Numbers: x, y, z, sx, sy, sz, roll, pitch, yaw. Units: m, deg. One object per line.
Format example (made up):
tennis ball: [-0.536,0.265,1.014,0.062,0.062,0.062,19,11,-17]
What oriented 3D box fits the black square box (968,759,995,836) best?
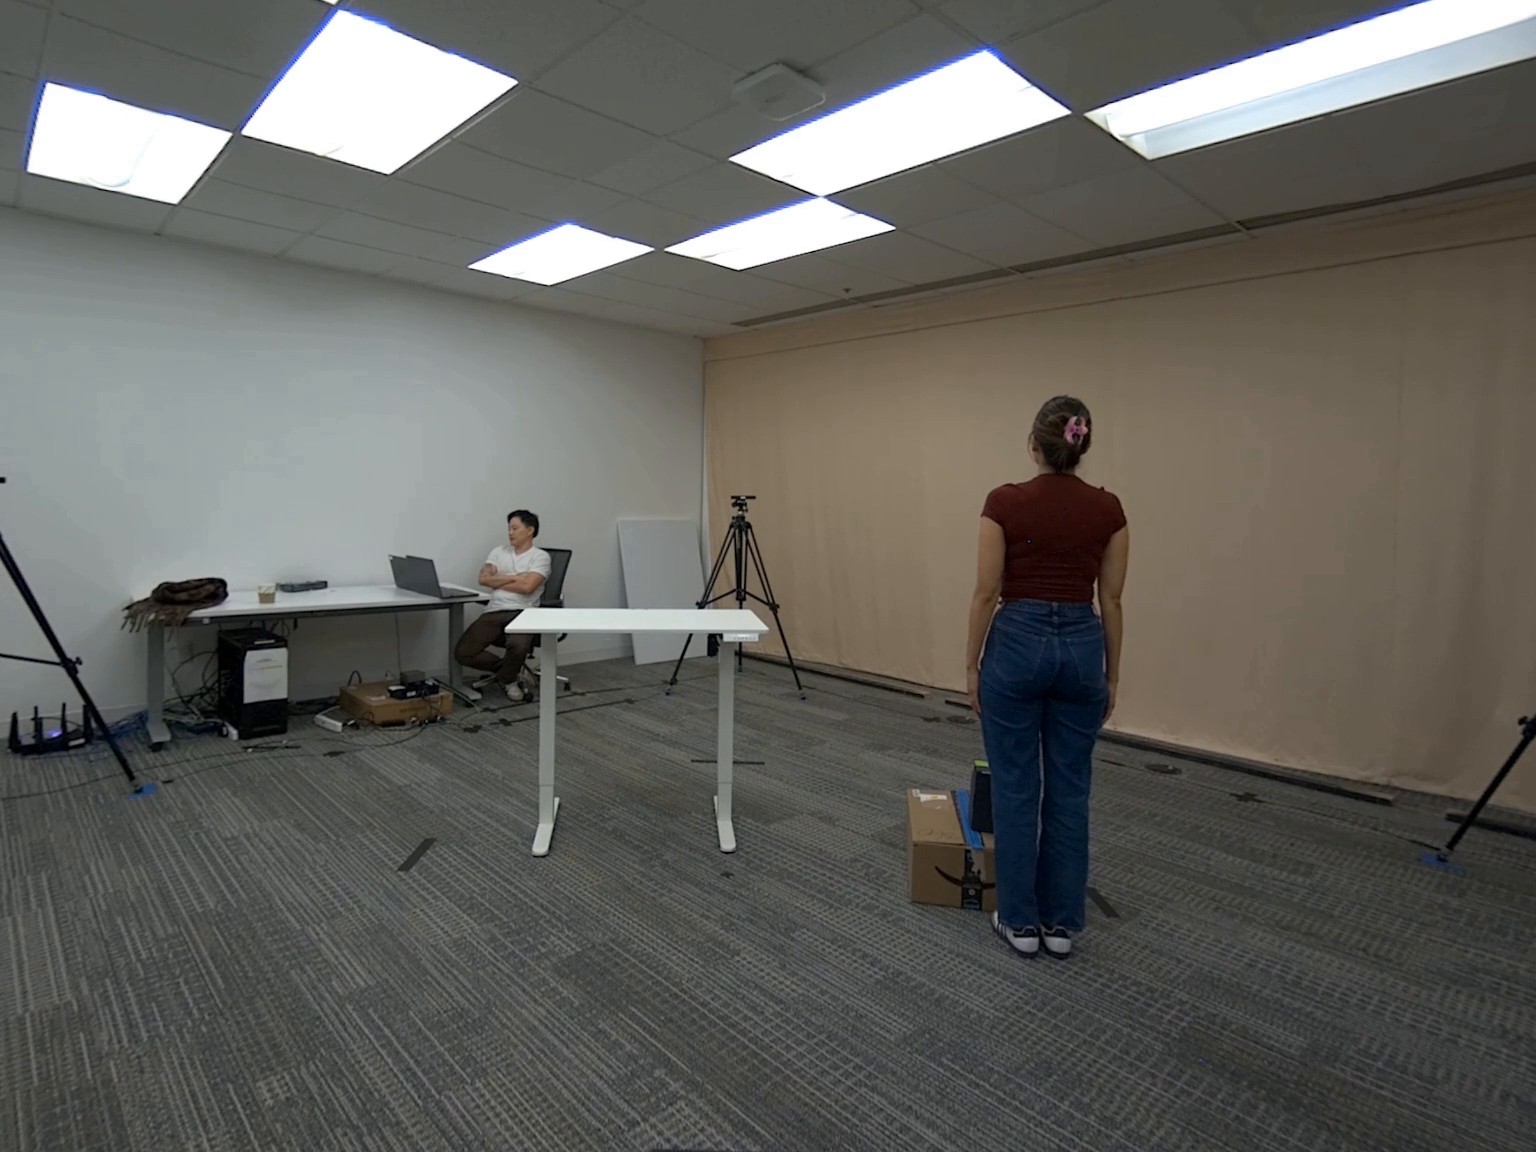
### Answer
black square box: [0.853,0.805,3.051,0.230,0.216,0.154,6,4,12]
